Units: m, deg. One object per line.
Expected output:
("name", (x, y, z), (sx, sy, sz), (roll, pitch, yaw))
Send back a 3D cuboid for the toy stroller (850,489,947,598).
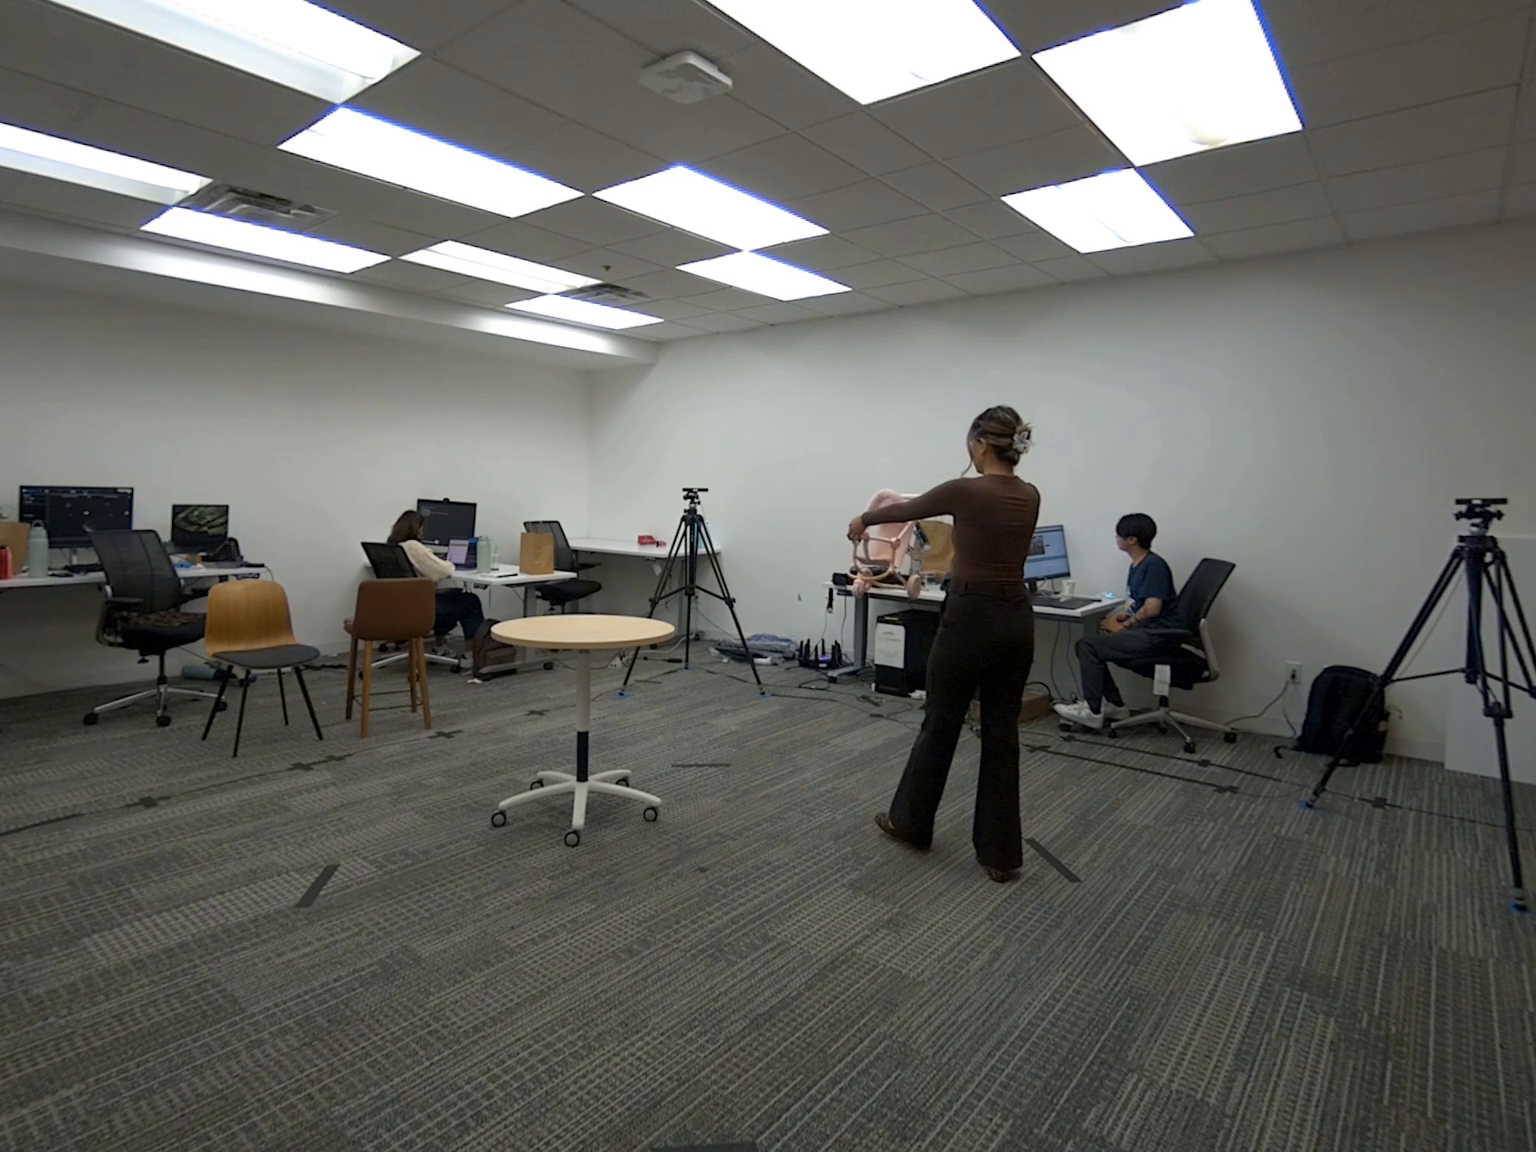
("toy stroller", (0.495, -0.145, 3.721), (0.291, 0.537, 0.328), (6, -8, 44))
